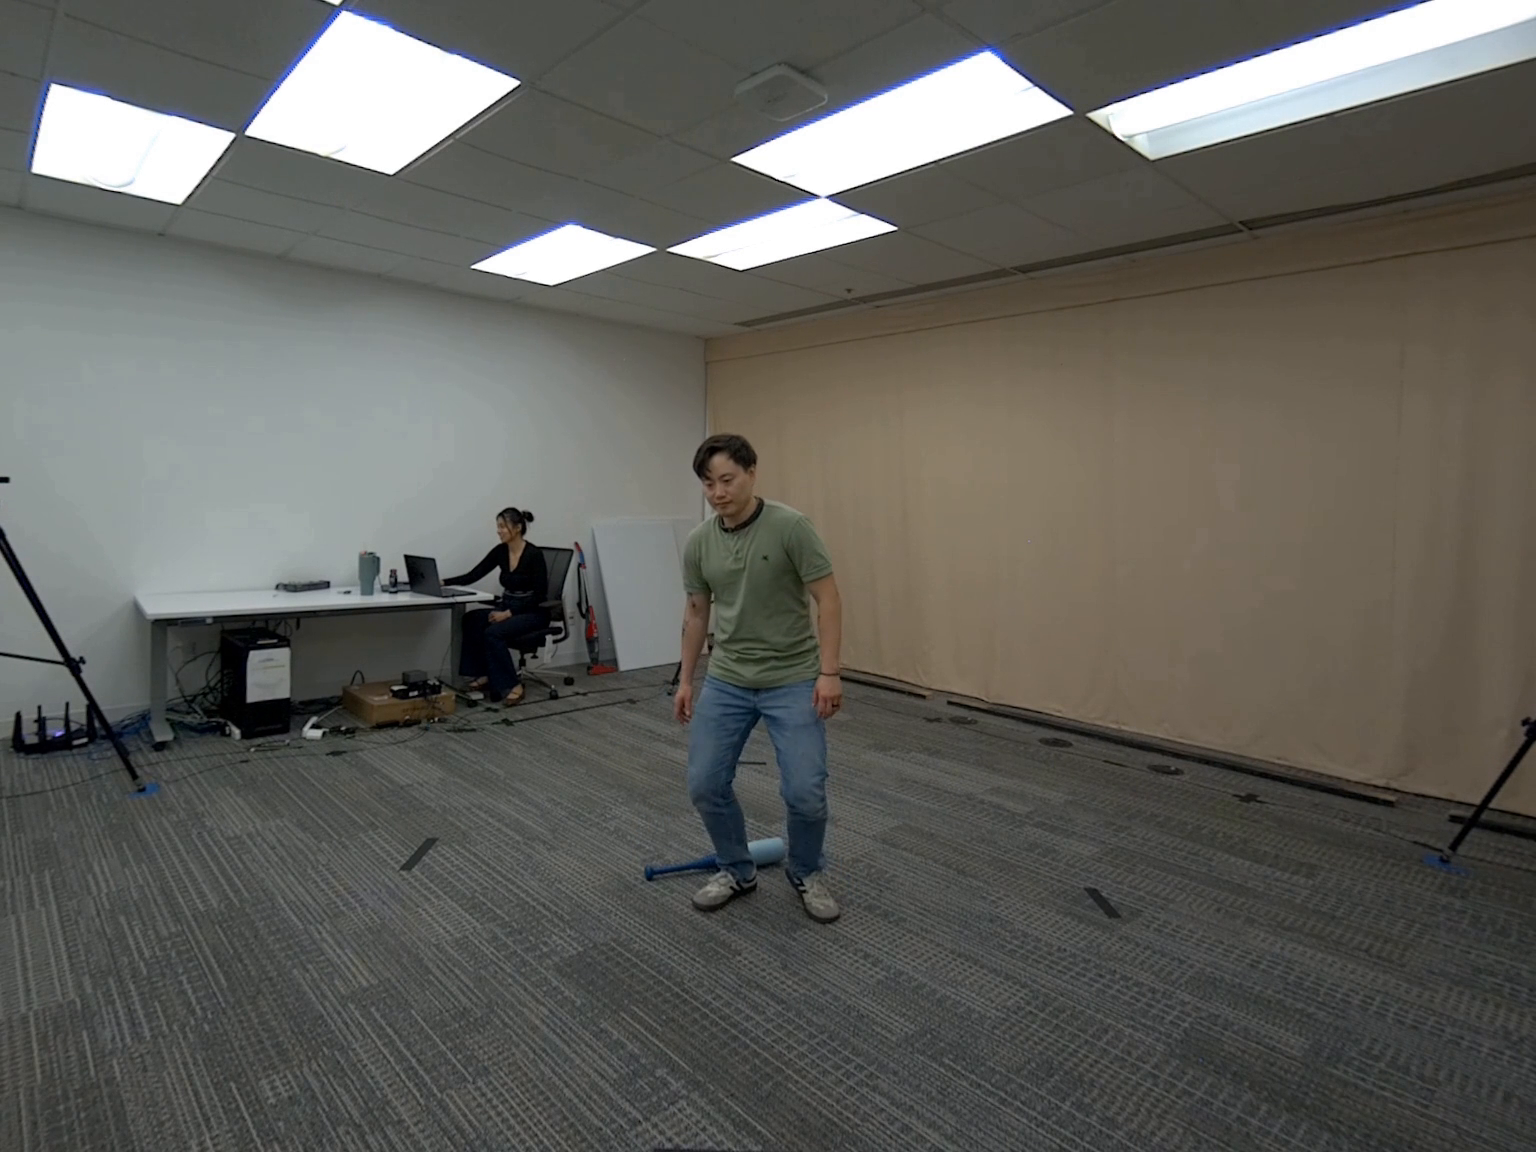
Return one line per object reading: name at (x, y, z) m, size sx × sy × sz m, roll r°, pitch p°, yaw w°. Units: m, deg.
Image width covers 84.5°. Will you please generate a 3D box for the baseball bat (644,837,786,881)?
baseball bat at (-0.195, 1.062, 3.126) m, size 0.536 × 0.089 × 0.090 m, roll -5°, pitch 6°, yaw -17°
